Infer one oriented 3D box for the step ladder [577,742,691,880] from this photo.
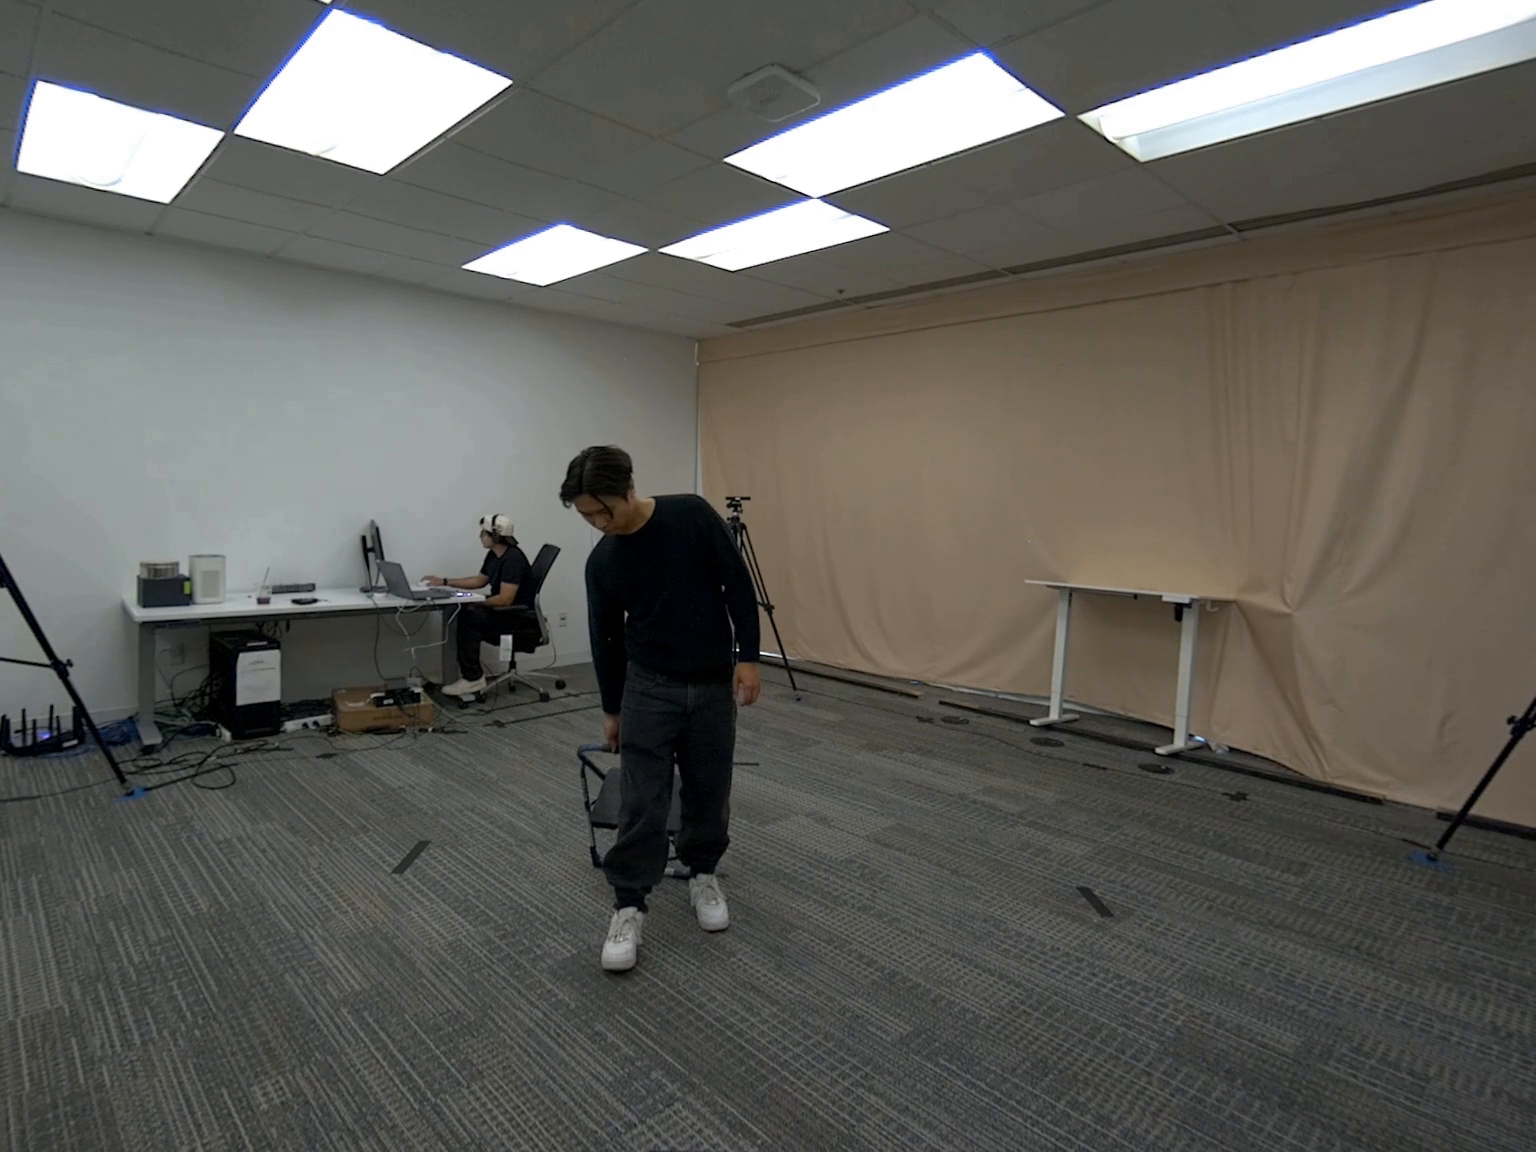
[{"bbox_3d":[-0.466,0.767,3.058,0.435,0.591,0.354,2,38,12],"label":"step ladder"}]
